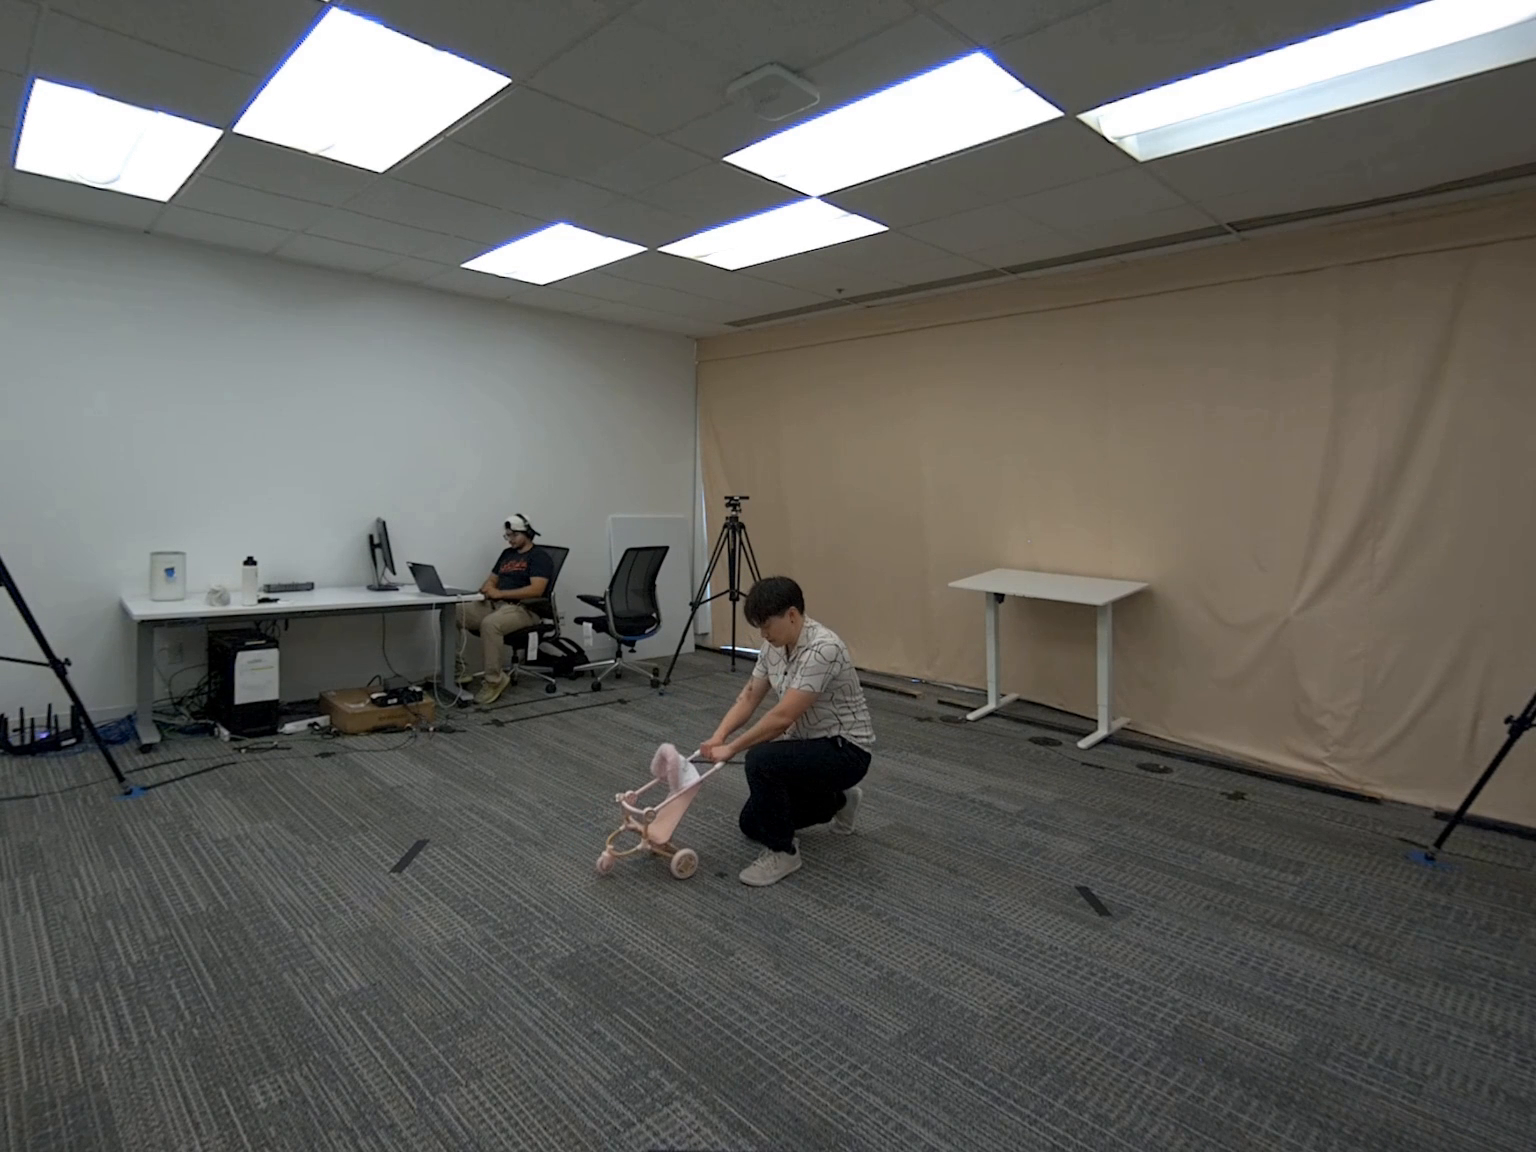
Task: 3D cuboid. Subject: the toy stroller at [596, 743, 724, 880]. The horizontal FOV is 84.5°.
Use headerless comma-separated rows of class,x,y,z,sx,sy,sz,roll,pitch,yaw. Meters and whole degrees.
toy stroller,-0.411,0.863,3.145,0.334,0.536,0.287,20,-5,-24
